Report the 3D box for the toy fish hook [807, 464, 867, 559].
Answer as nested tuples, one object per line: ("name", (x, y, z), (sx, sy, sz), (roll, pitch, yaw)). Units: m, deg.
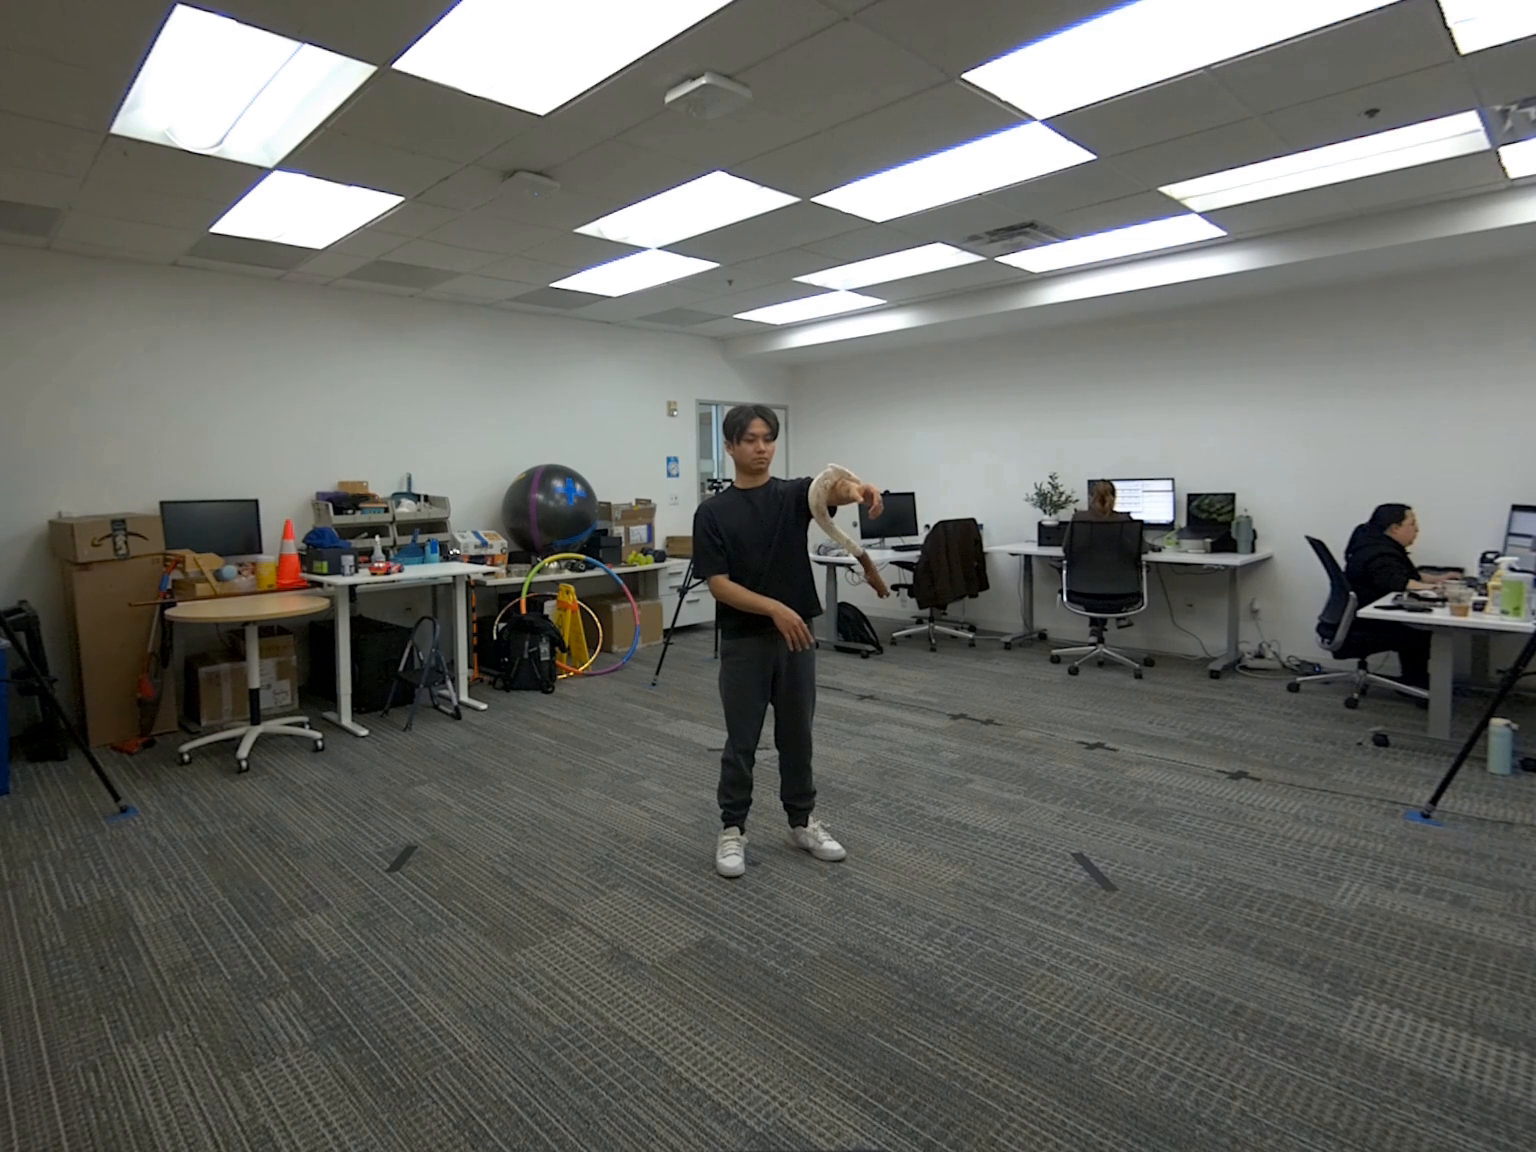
("toy fish hook", (0.298, -0.142, 2.839), (0.224, 0.493, 0.050), (-42, 24, -16))
